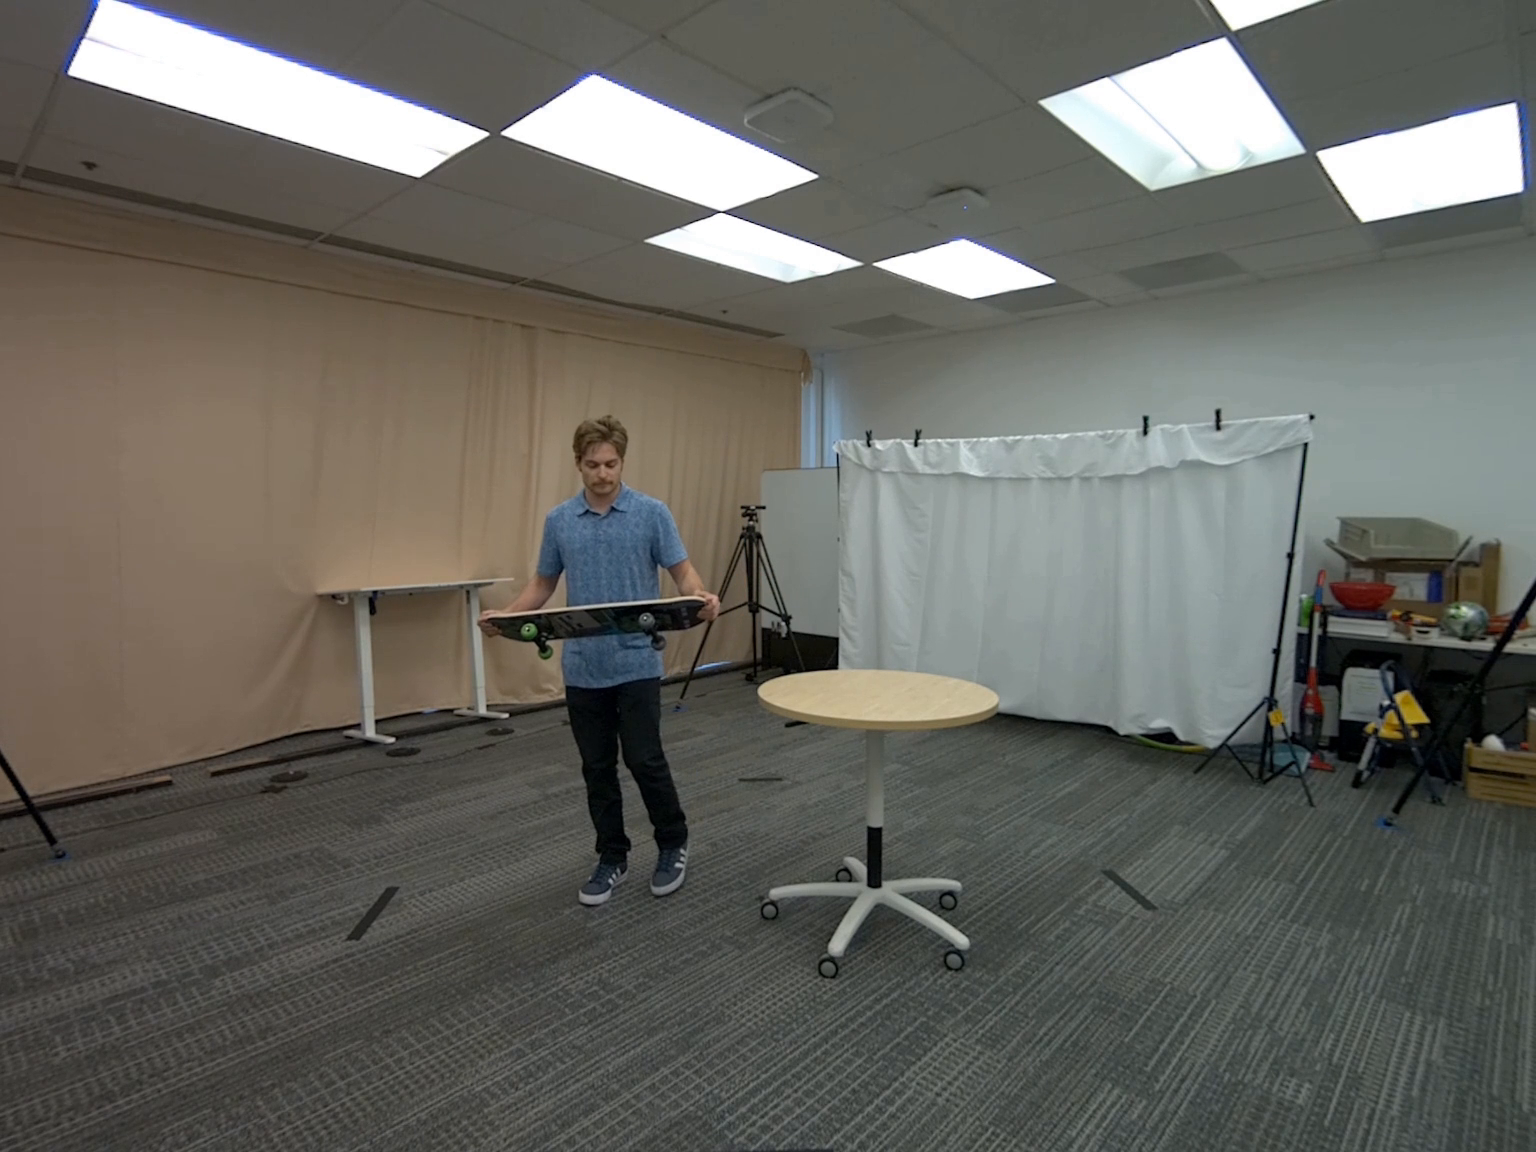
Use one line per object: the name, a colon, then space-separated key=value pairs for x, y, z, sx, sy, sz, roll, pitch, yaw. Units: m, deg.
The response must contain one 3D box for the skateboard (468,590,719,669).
skateboard: x=-0.569 y=0.179 z=2.785 sx=0.792 sy=0.112 sz=0.188 roll=-6 pitch=-33 yaw=9
